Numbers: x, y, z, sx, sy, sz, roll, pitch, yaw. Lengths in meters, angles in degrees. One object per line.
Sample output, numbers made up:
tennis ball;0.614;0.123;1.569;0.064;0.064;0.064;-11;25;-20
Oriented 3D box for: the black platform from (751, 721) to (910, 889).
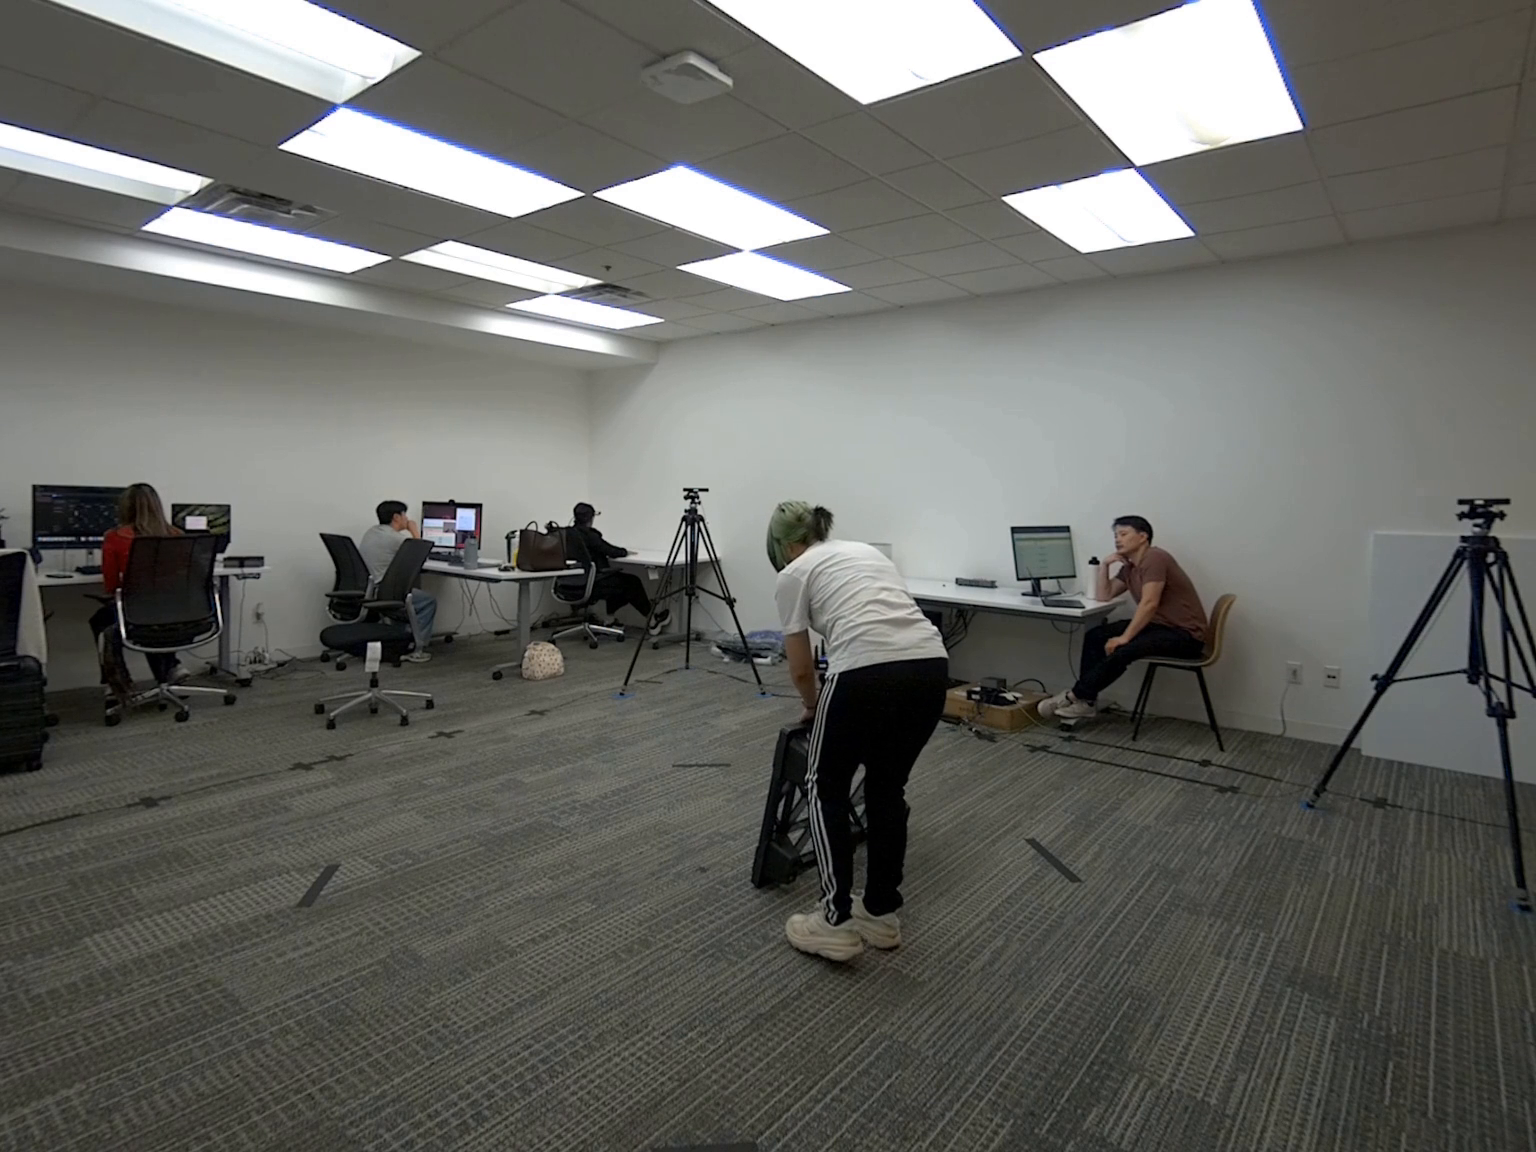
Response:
black platform;0.283;0.789;3.156;0.149;0.600;0.781;19;16;41
